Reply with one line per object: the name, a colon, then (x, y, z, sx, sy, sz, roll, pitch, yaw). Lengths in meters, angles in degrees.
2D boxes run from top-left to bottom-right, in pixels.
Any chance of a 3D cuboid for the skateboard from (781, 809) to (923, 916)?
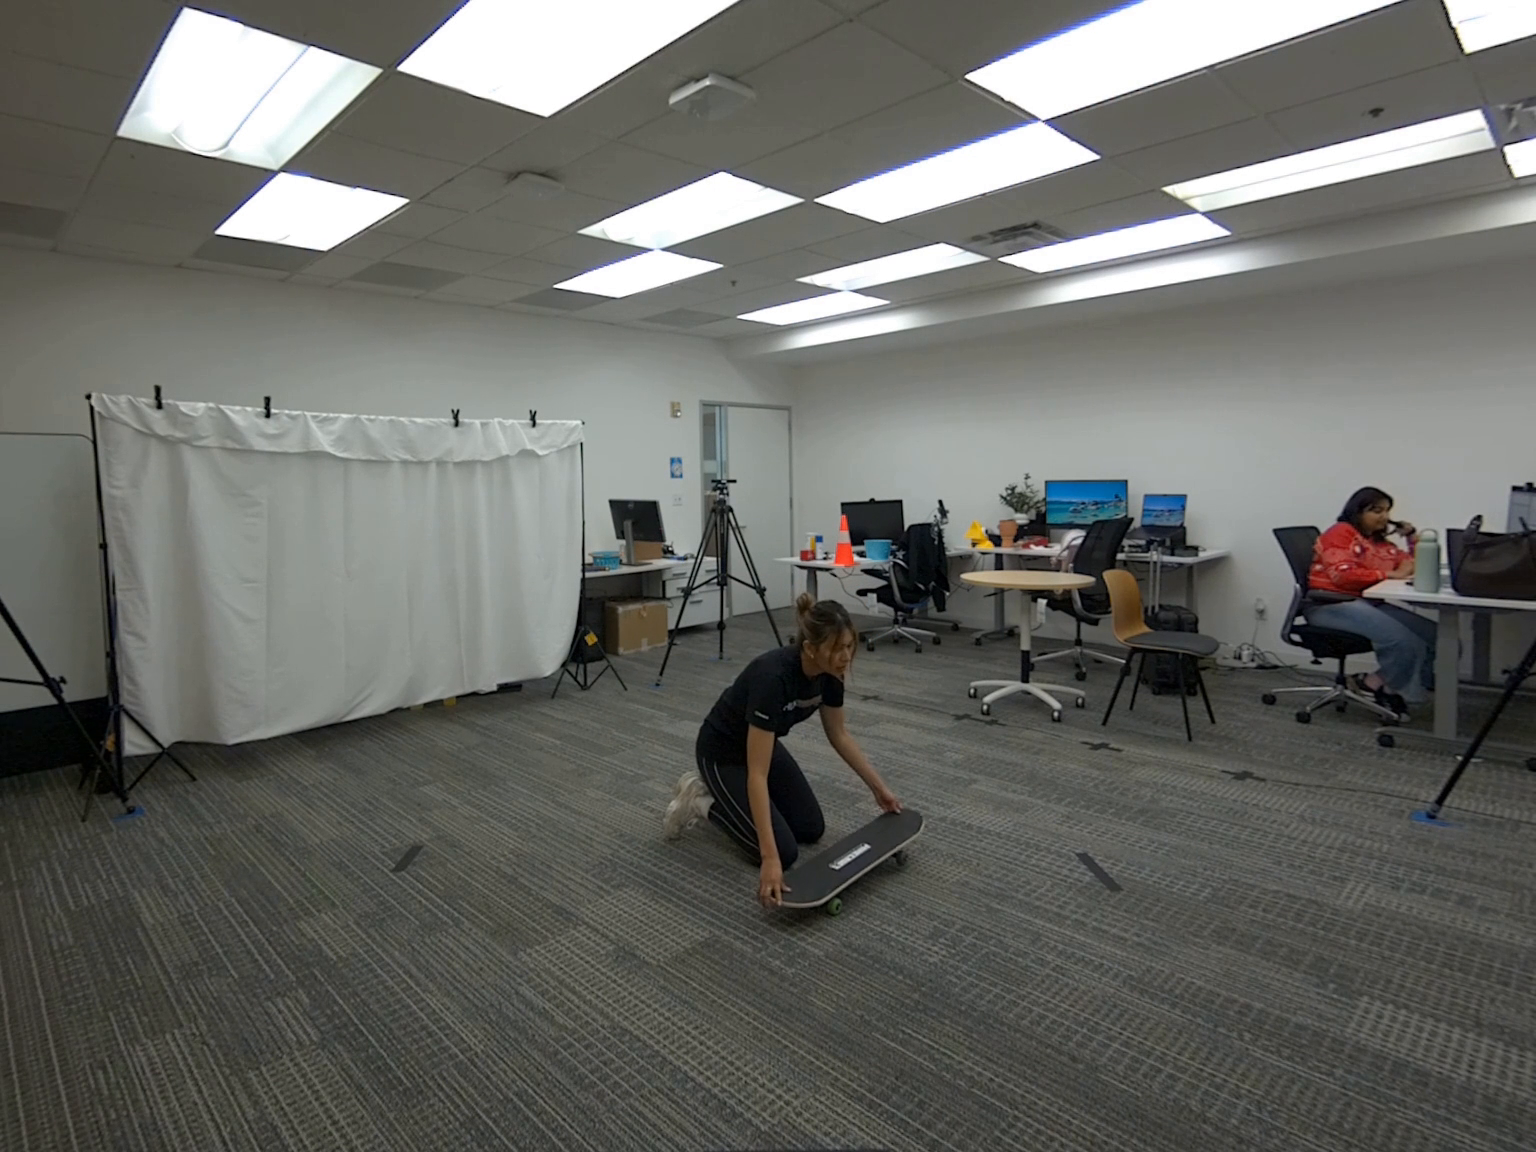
skateboard: (0.287, 0.989, 2.935, 0.199, 0.109, 0.768, 3, 12, 41)
